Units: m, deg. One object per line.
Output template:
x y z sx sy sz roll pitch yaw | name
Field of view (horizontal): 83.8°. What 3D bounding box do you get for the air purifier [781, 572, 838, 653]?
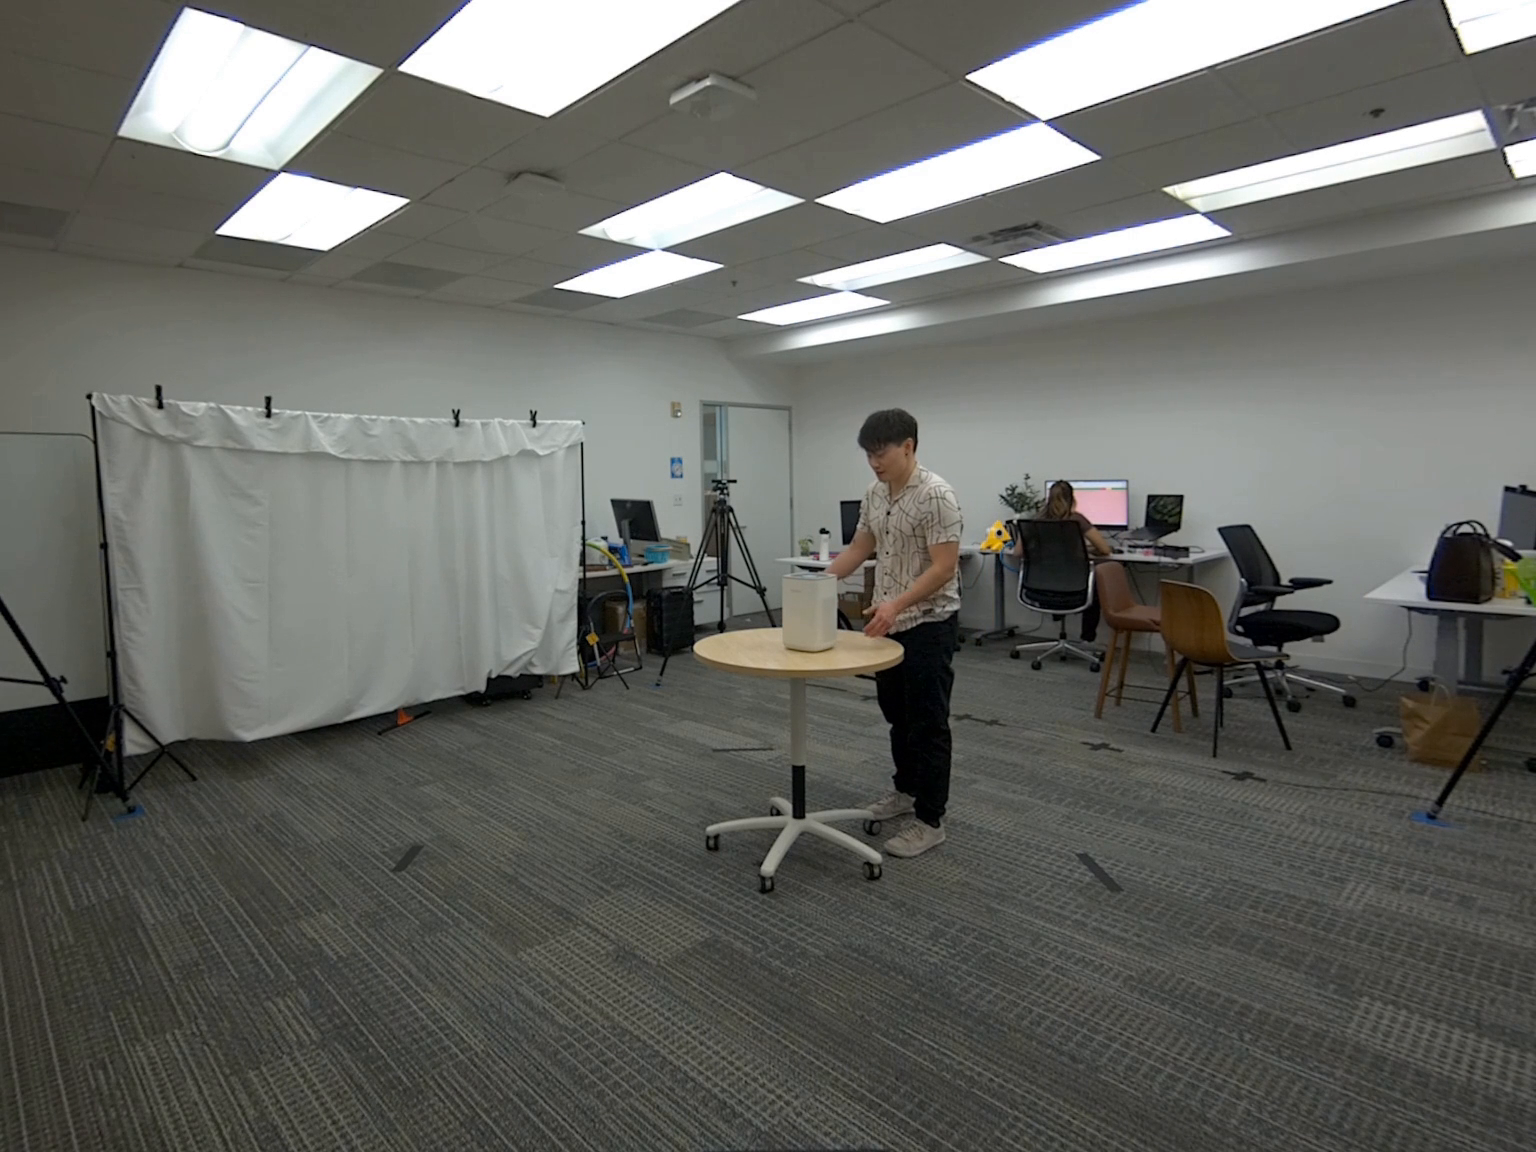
0.147 0.131 3.094 0.175 0.264 0.168 1 5 32 | air purifier
